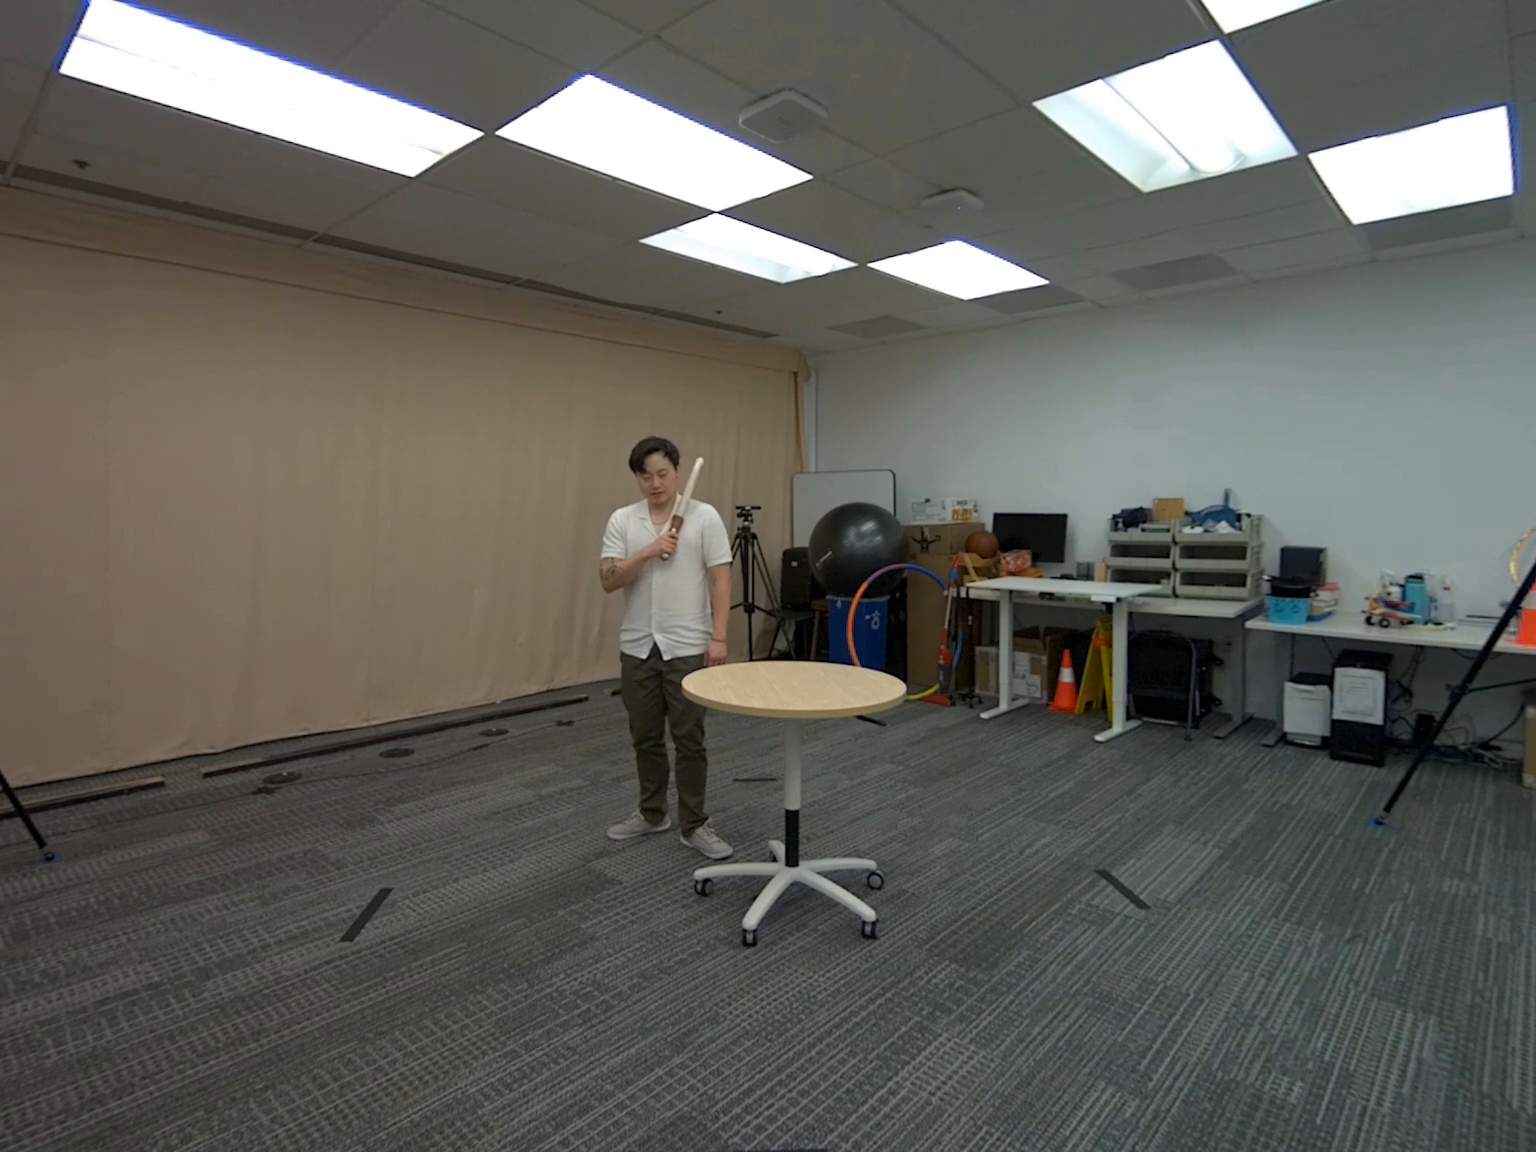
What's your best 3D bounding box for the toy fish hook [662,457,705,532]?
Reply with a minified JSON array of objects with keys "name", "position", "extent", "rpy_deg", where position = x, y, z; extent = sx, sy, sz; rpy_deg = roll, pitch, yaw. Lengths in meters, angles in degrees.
[{"name":"toy fish hook","position":[-0.353,-0.260,3.439],"extent":[0.048,0.510,0.223],"rpy_deg":[17,-28,-3]}]
